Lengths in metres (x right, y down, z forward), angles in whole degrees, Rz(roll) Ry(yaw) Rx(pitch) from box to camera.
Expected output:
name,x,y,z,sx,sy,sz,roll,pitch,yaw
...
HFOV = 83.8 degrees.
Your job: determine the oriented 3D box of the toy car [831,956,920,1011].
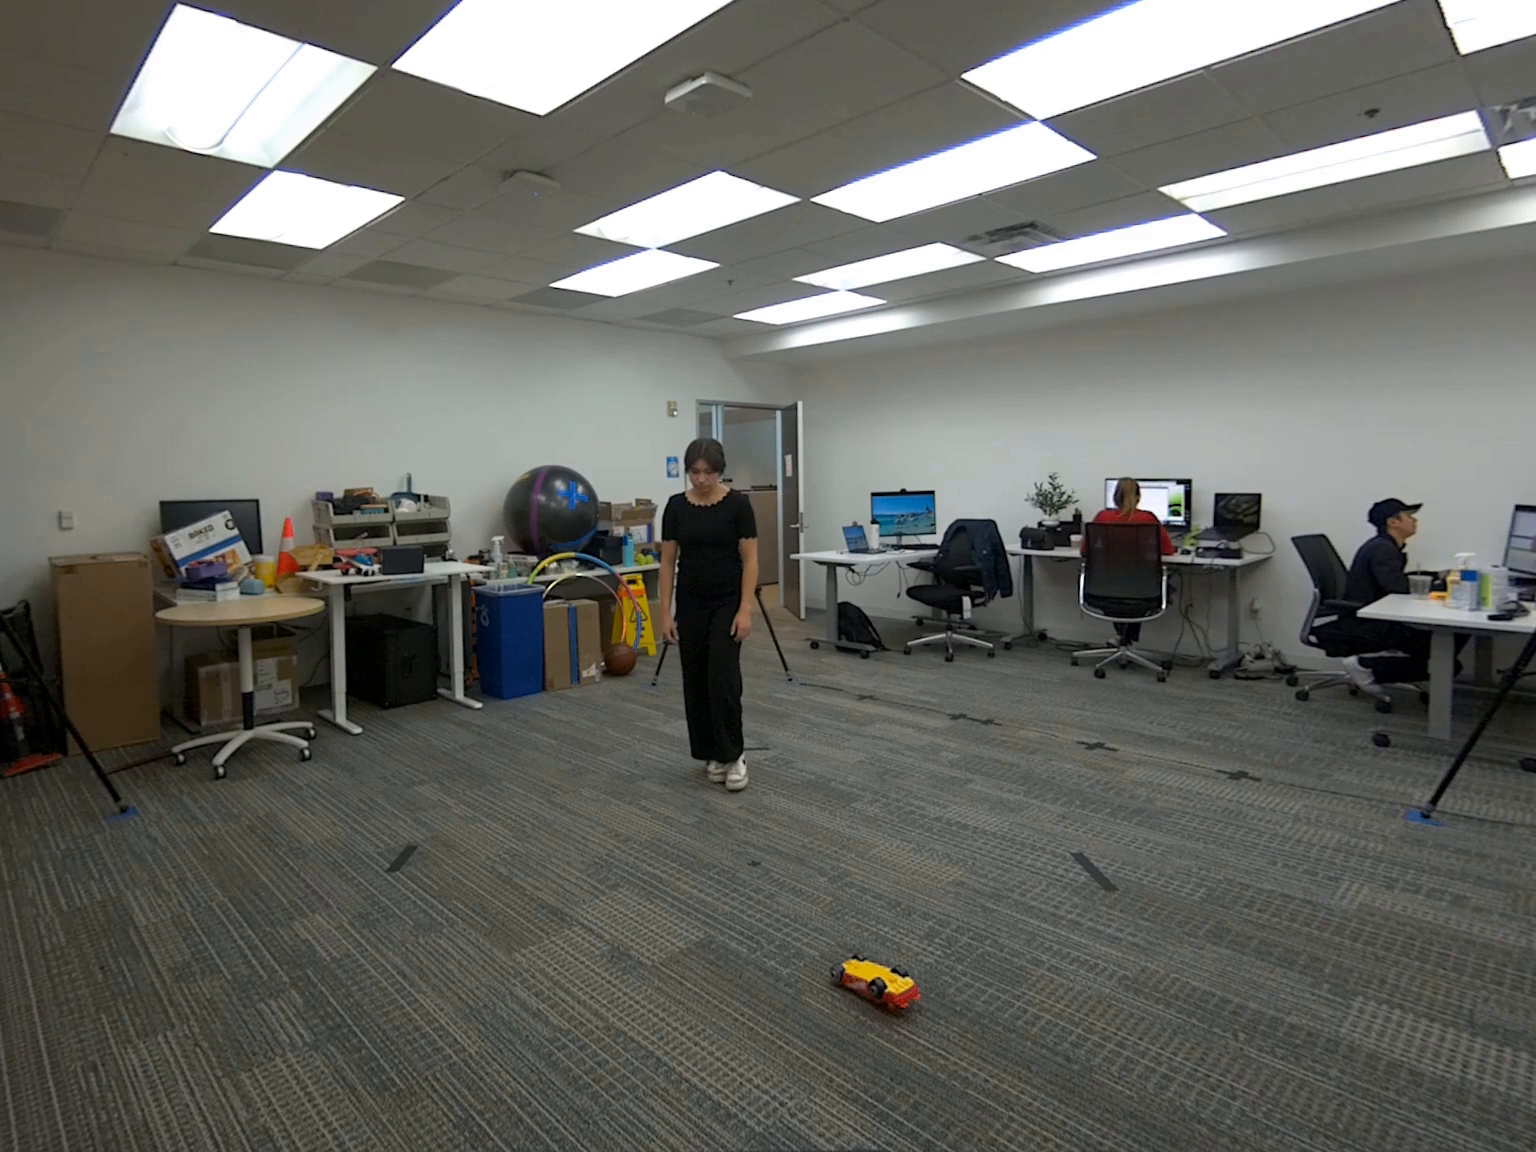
name,x,y,z,sx,sy,sz,roll,pitch,yaw
toy car,0.297,1.093,2.301,0.127,0.083,0.262,-5,8,-40
